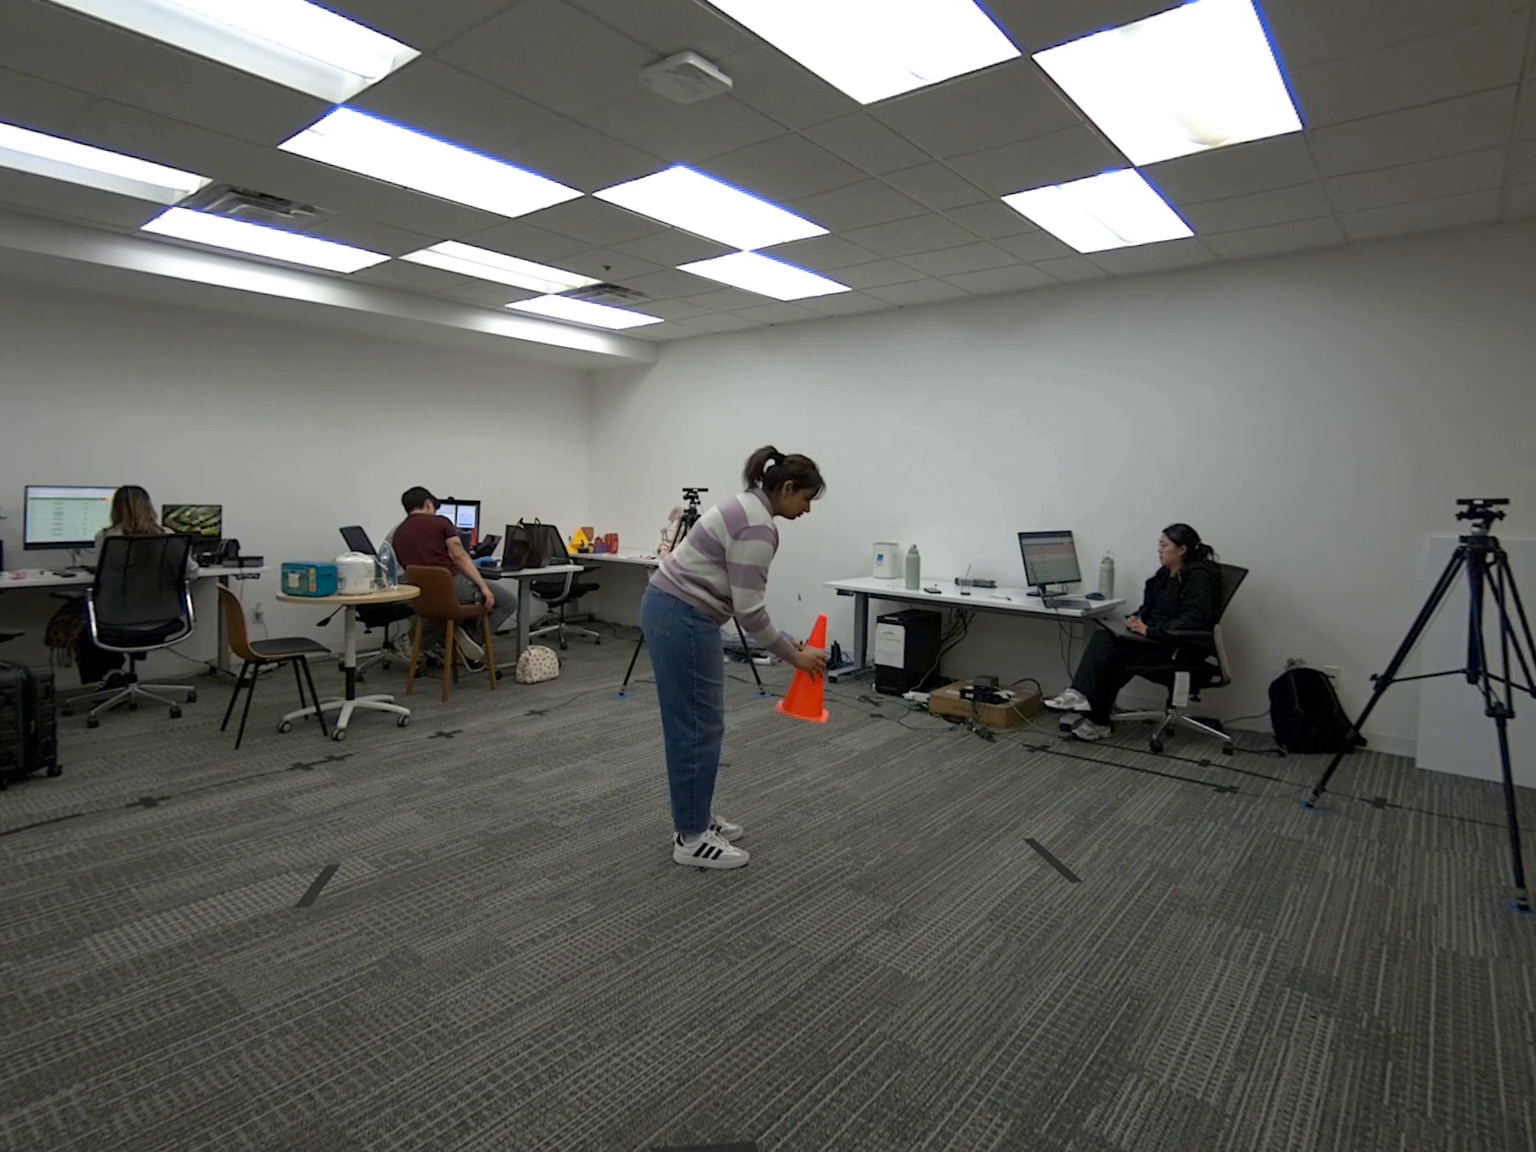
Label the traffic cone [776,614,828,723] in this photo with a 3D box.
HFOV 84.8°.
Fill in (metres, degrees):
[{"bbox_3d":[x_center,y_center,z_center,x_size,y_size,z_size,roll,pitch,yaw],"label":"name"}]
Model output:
[{"bbox_3d":[0.157,0.341,3.228,0.207,0.382,0.202,13,6,14],"label":"traffic cone"}]
